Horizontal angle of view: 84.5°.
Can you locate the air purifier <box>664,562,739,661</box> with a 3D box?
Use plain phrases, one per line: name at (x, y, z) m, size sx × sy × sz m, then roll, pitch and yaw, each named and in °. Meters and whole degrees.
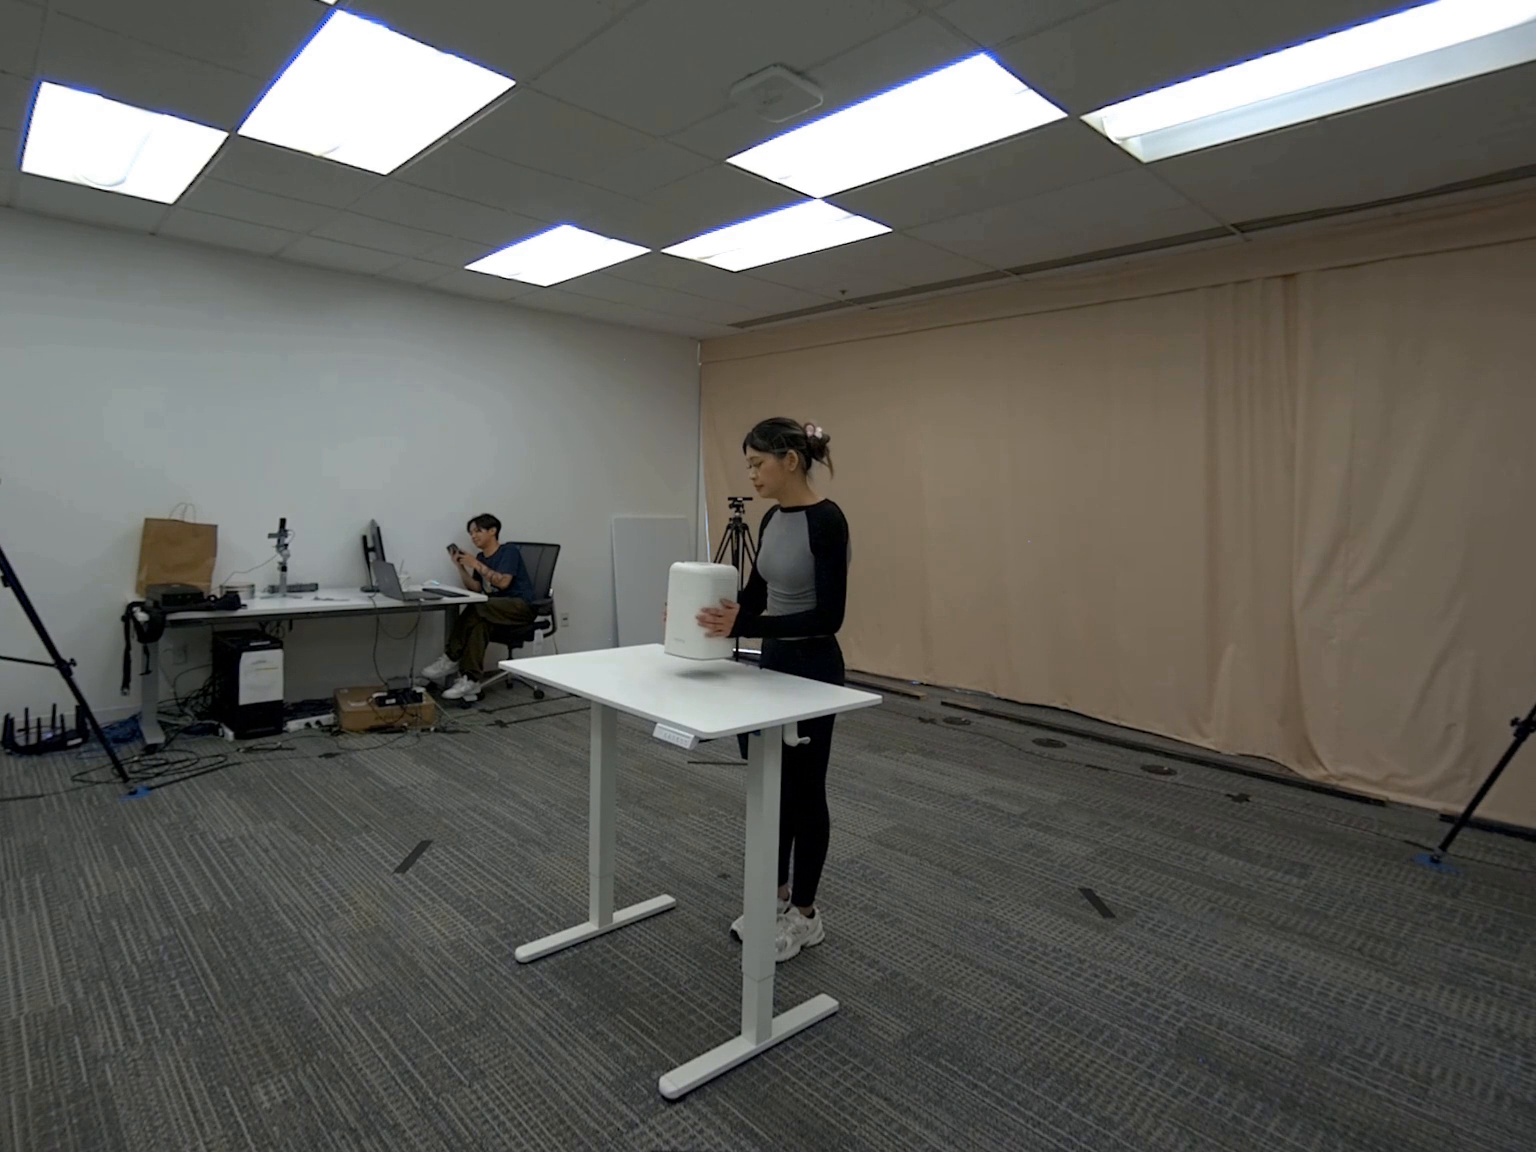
air purifier at (-0.192, 0.099, 2.423) m, size 0.175 × 0.265 × 0.167 m, roll 5°, pitch 1°, yaw 43°
